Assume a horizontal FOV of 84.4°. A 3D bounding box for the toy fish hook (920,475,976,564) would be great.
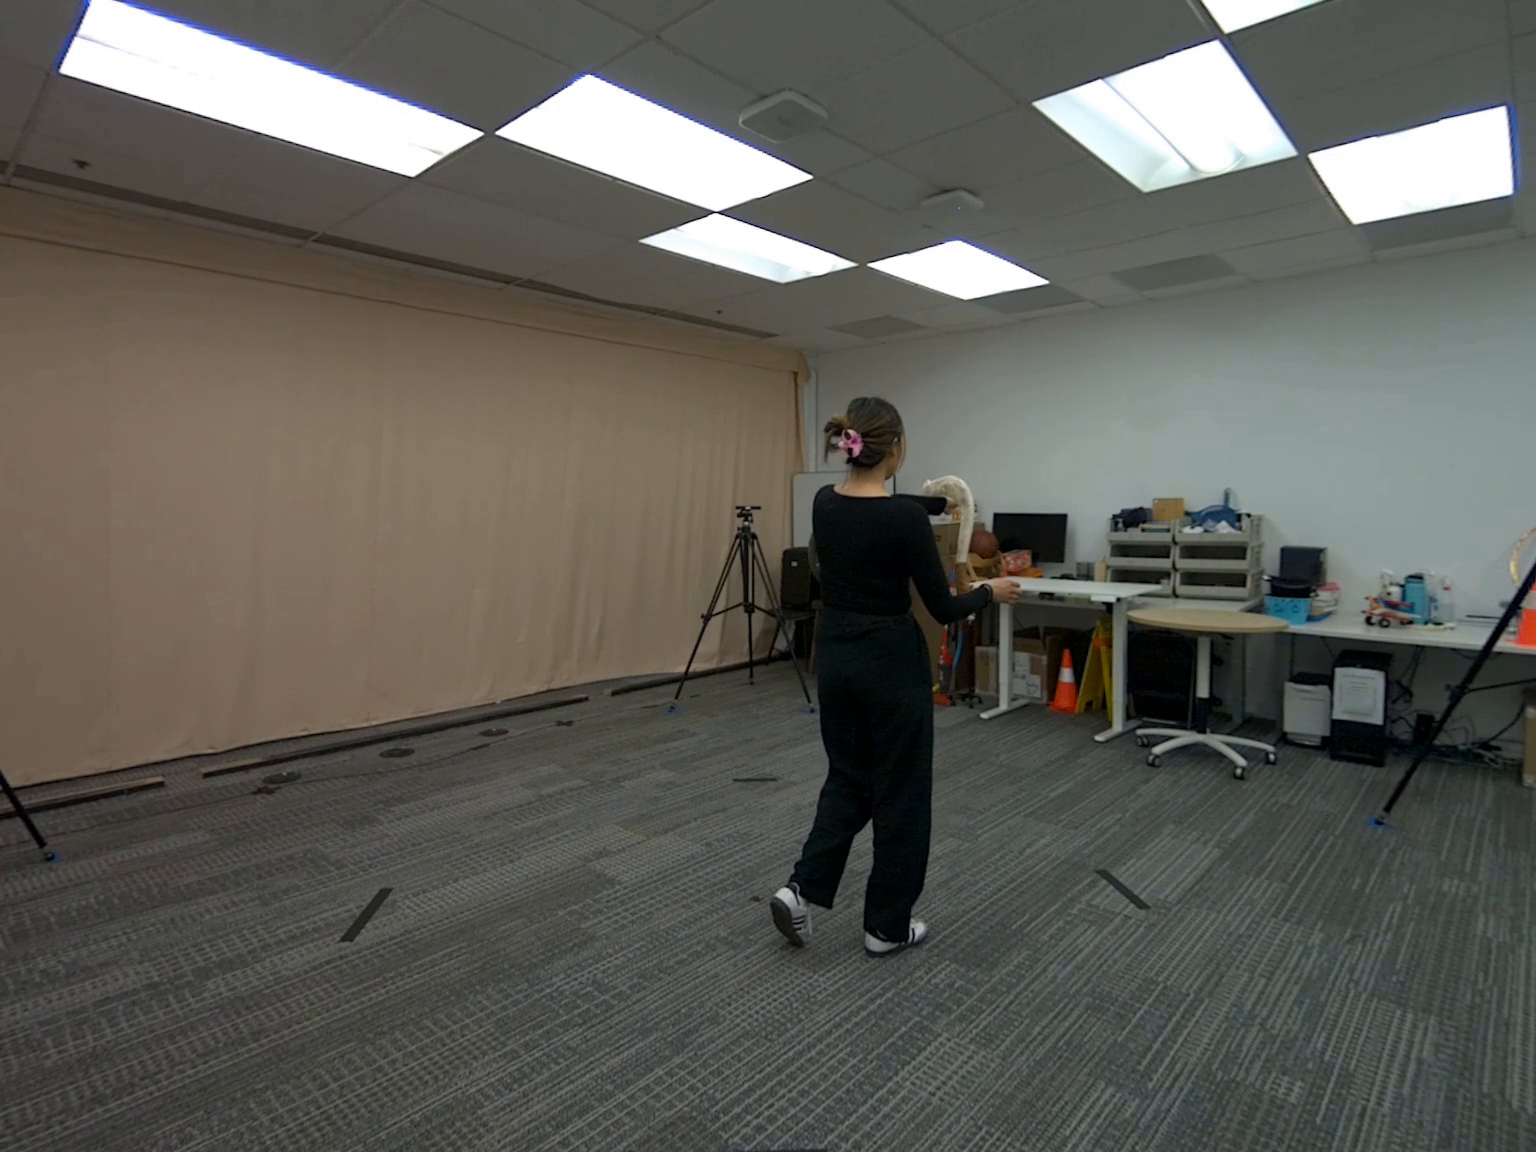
[{"bbox_3d":[0.617,-0.086,2.908,0.231,0.510,0.047,-12,-12,41],"label":"toy fish hook"}]
